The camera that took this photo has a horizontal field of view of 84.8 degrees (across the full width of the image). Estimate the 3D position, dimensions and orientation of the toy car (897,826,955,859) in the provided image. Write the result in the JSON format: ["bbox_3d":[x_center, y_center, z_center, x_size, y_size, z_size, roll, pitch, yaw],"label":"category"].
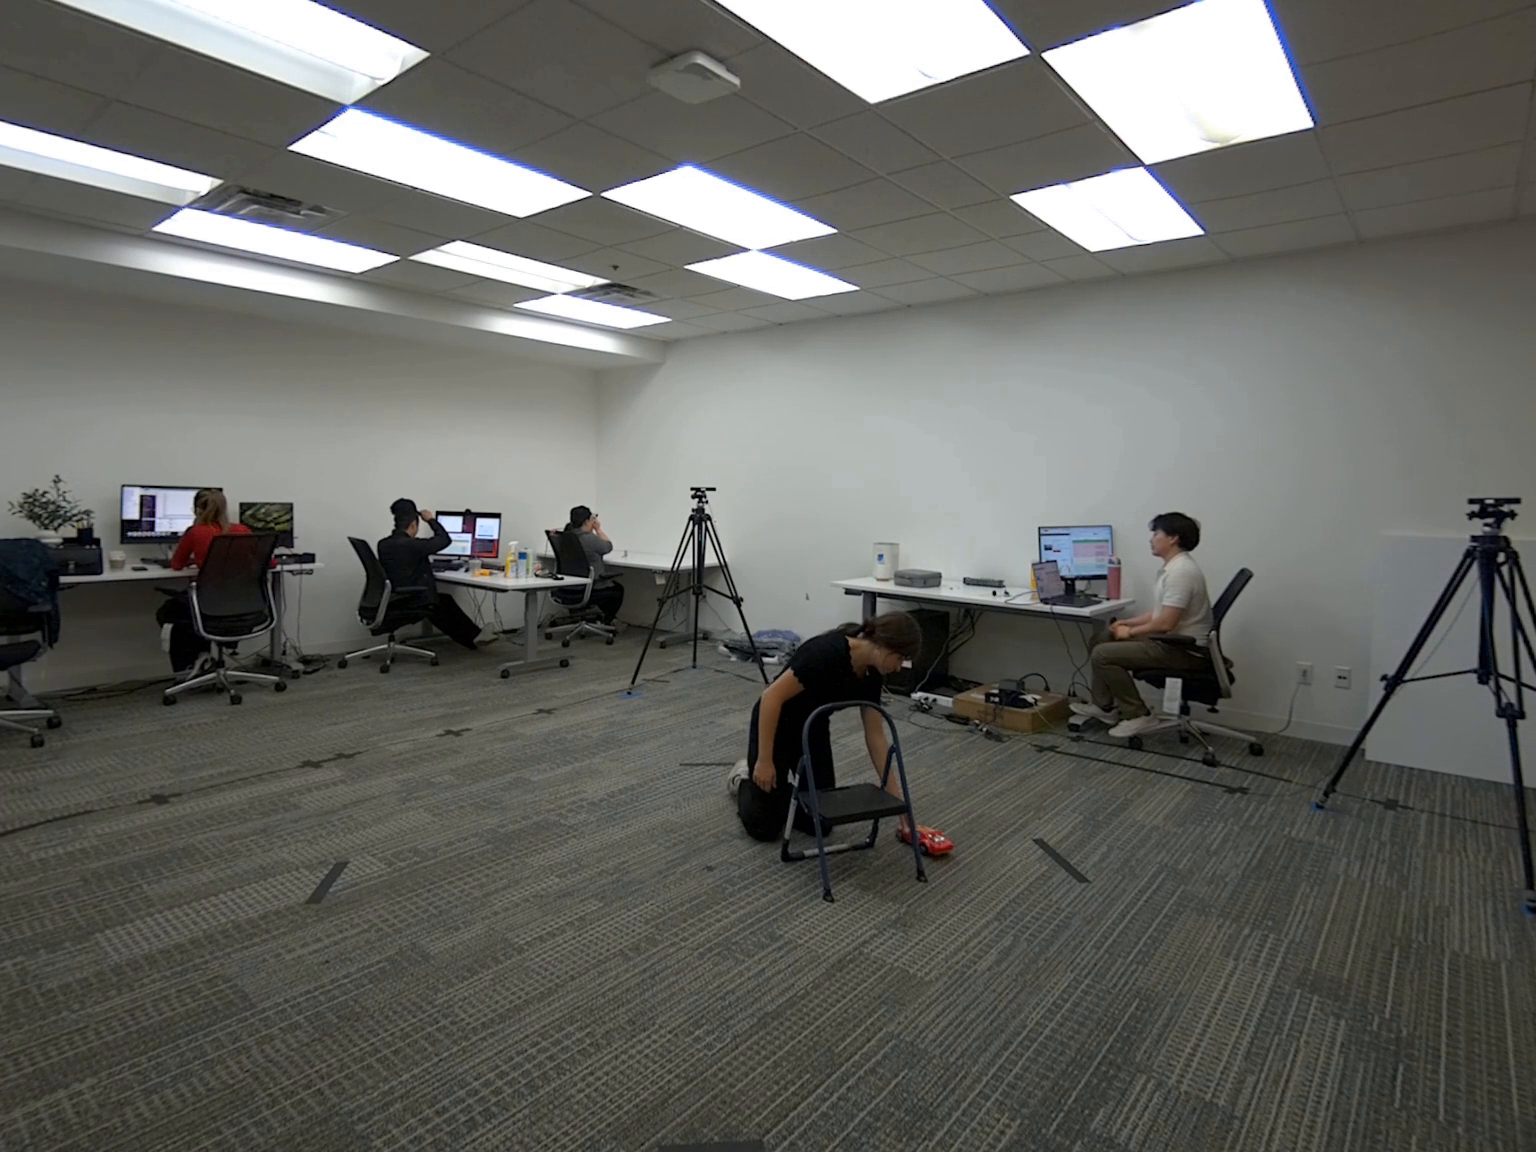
[{"bbox_3d":[0.610,1.034,3.335,0.127,0.084,0.260,4,-7,-29],"label":"toy car"}]
